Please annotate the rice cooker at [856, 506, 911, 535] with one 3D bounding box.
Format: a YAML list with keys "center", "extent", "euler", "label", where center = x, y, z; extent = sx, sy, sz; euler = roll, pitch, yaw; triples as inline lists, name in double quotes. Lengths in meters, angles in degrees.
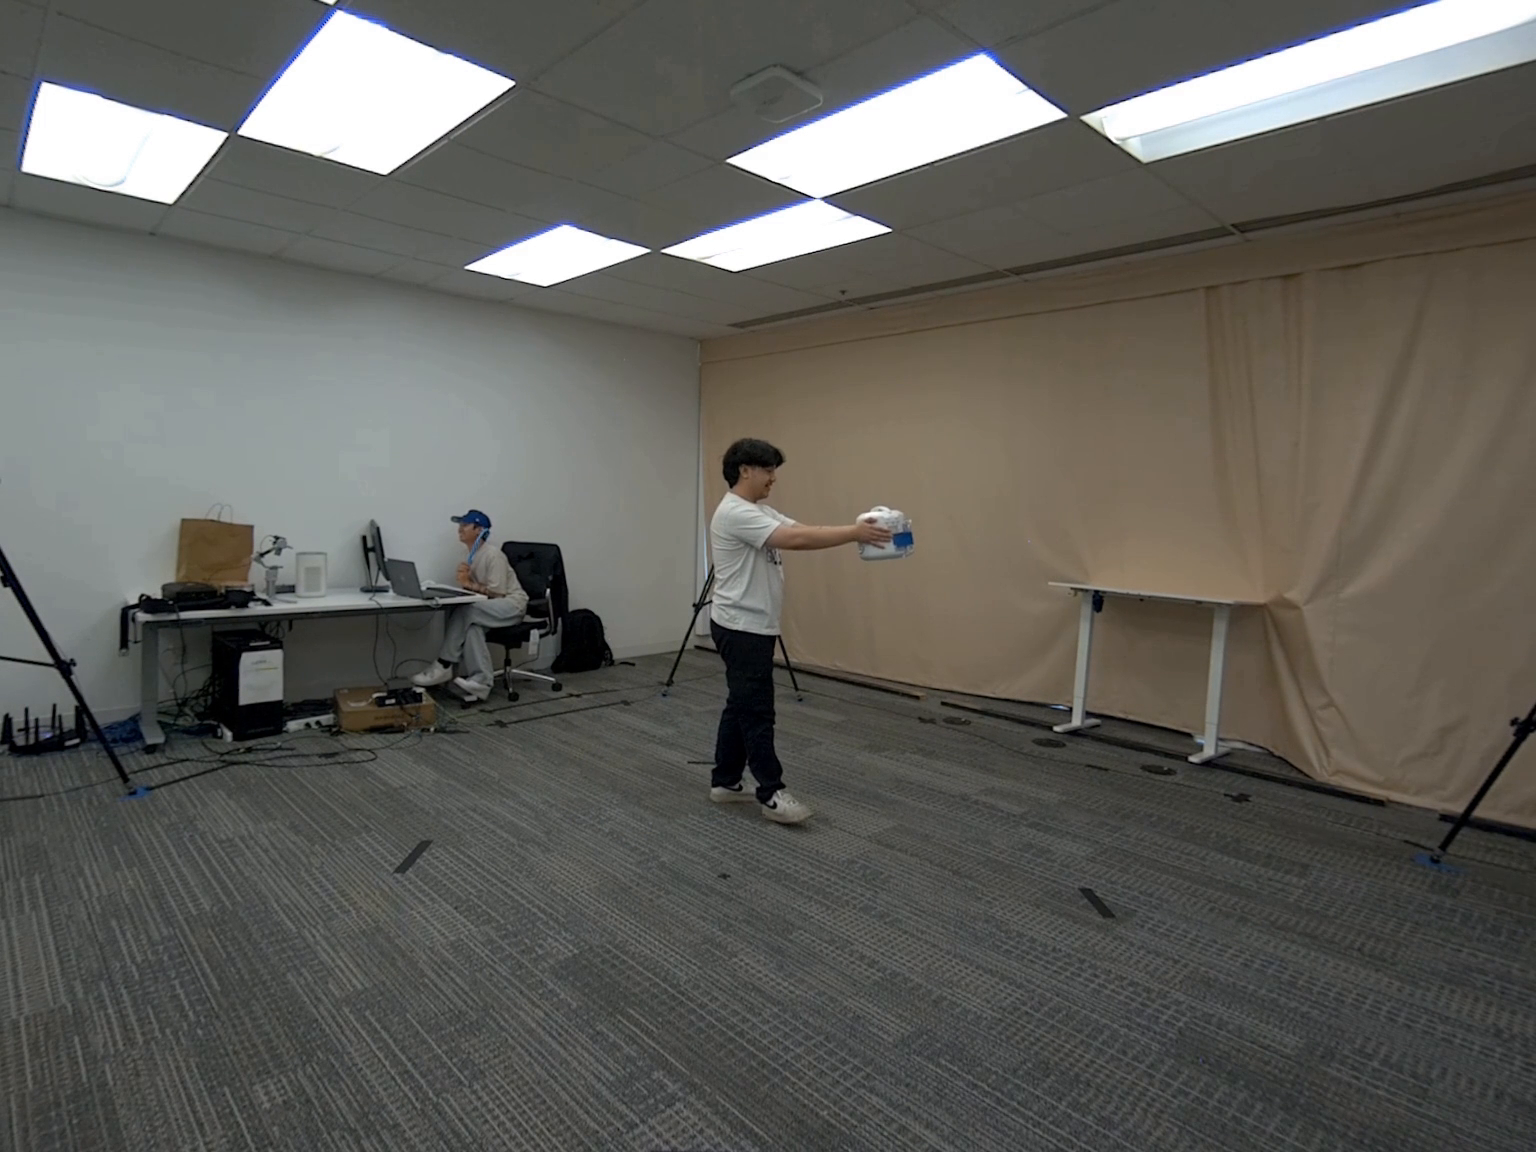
- center: [0.488, -0.188, 3.651]
  extent: [0.215, 0.233, 0.223]
  euler: [-6, 1, -18]
  label: "rice cooker"
